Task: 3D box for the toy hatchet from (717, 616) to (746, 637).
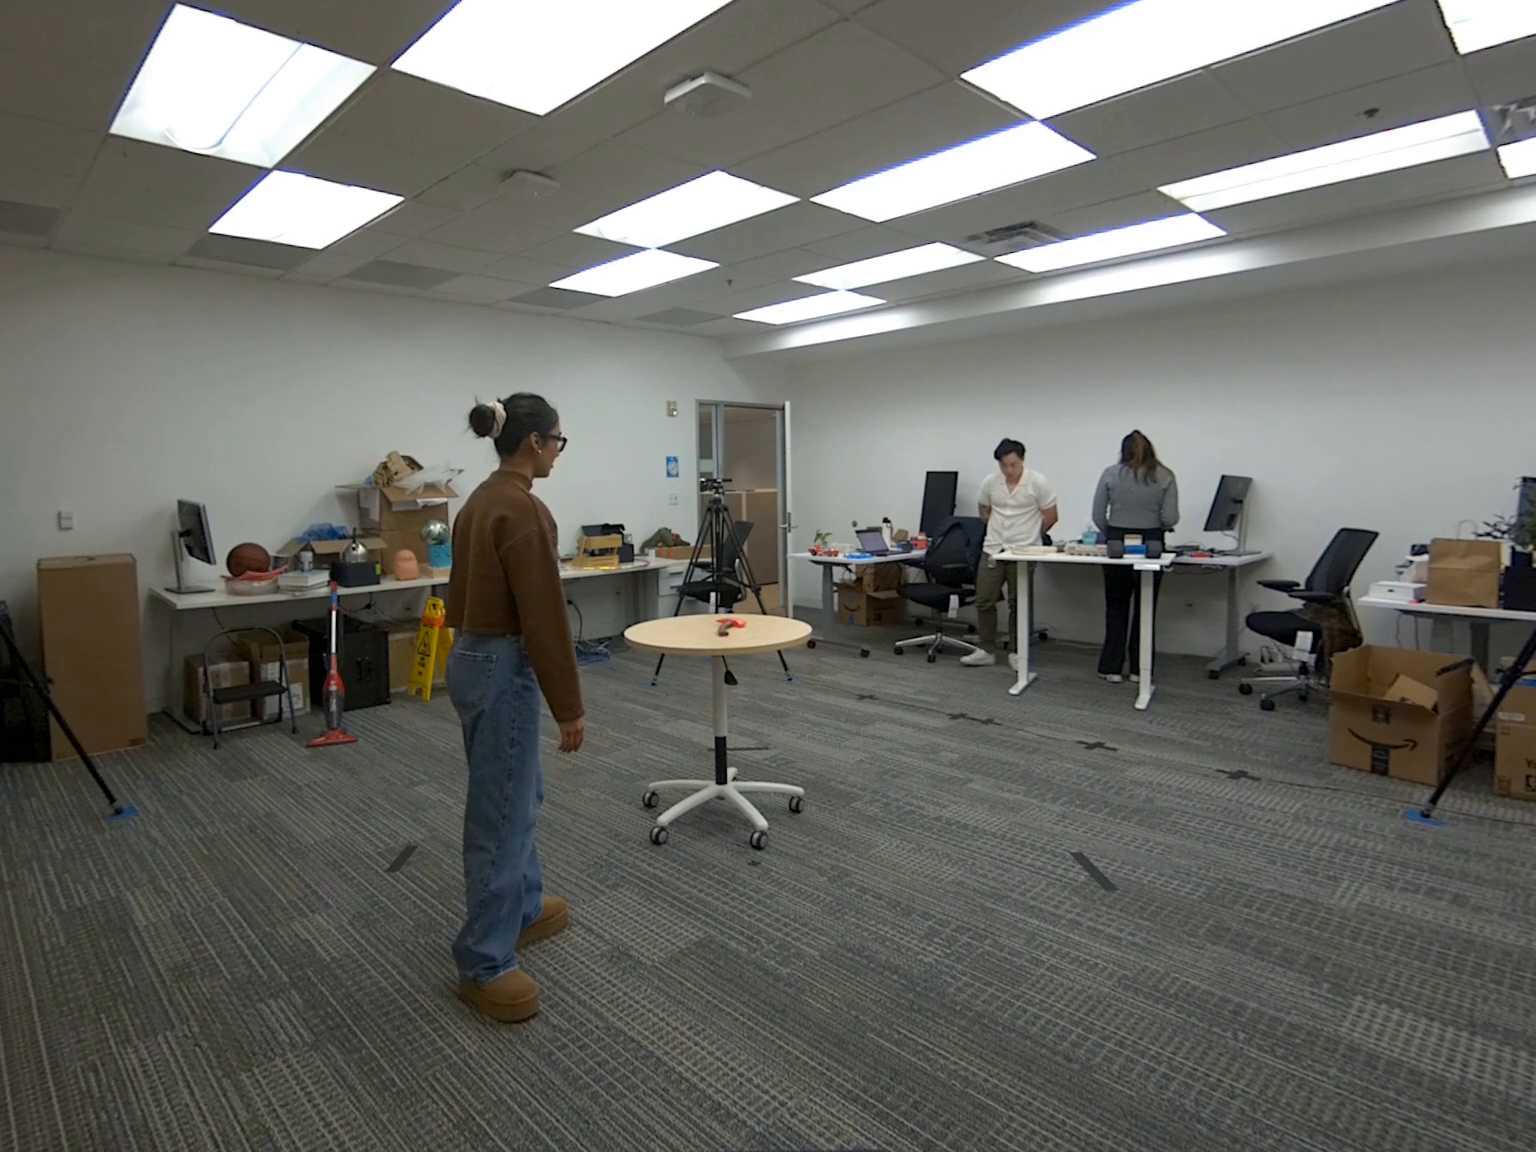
[{"bbox_3d":[-0.137,0.211,3.492,0.130,0.029,0.273,2,8,-5],"label":"toy hatchet"}]
